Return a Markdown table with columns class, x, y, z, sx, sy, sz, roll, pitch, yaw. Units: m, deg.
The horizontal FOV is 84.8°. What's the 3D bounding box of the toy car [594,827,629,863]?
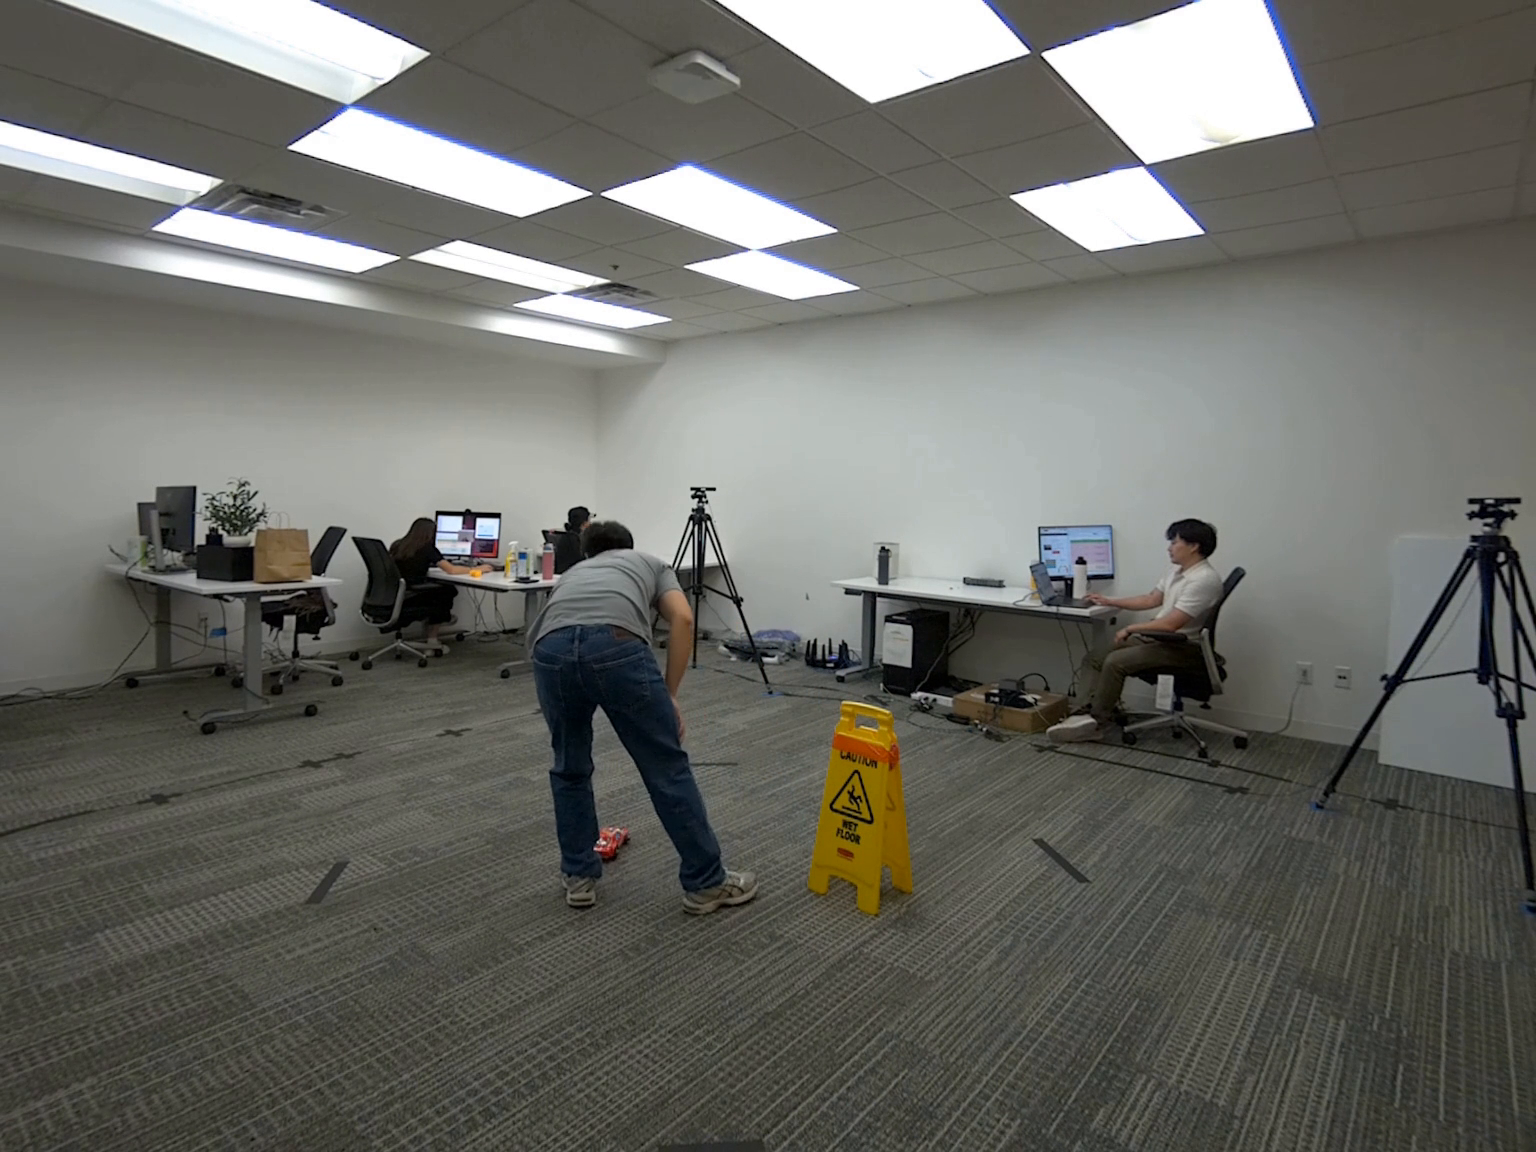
| class | x | y | z | sx | sy | sz | roll | pitch | yaw |
| --- | --- | --- | --- | --- | --- | --- | --- | --- | --- |
| toy car | -0.623 | 1.015 | 3.234 | 0.131 | 0.084 | 0.250 | 2 | -6 | 7 |
